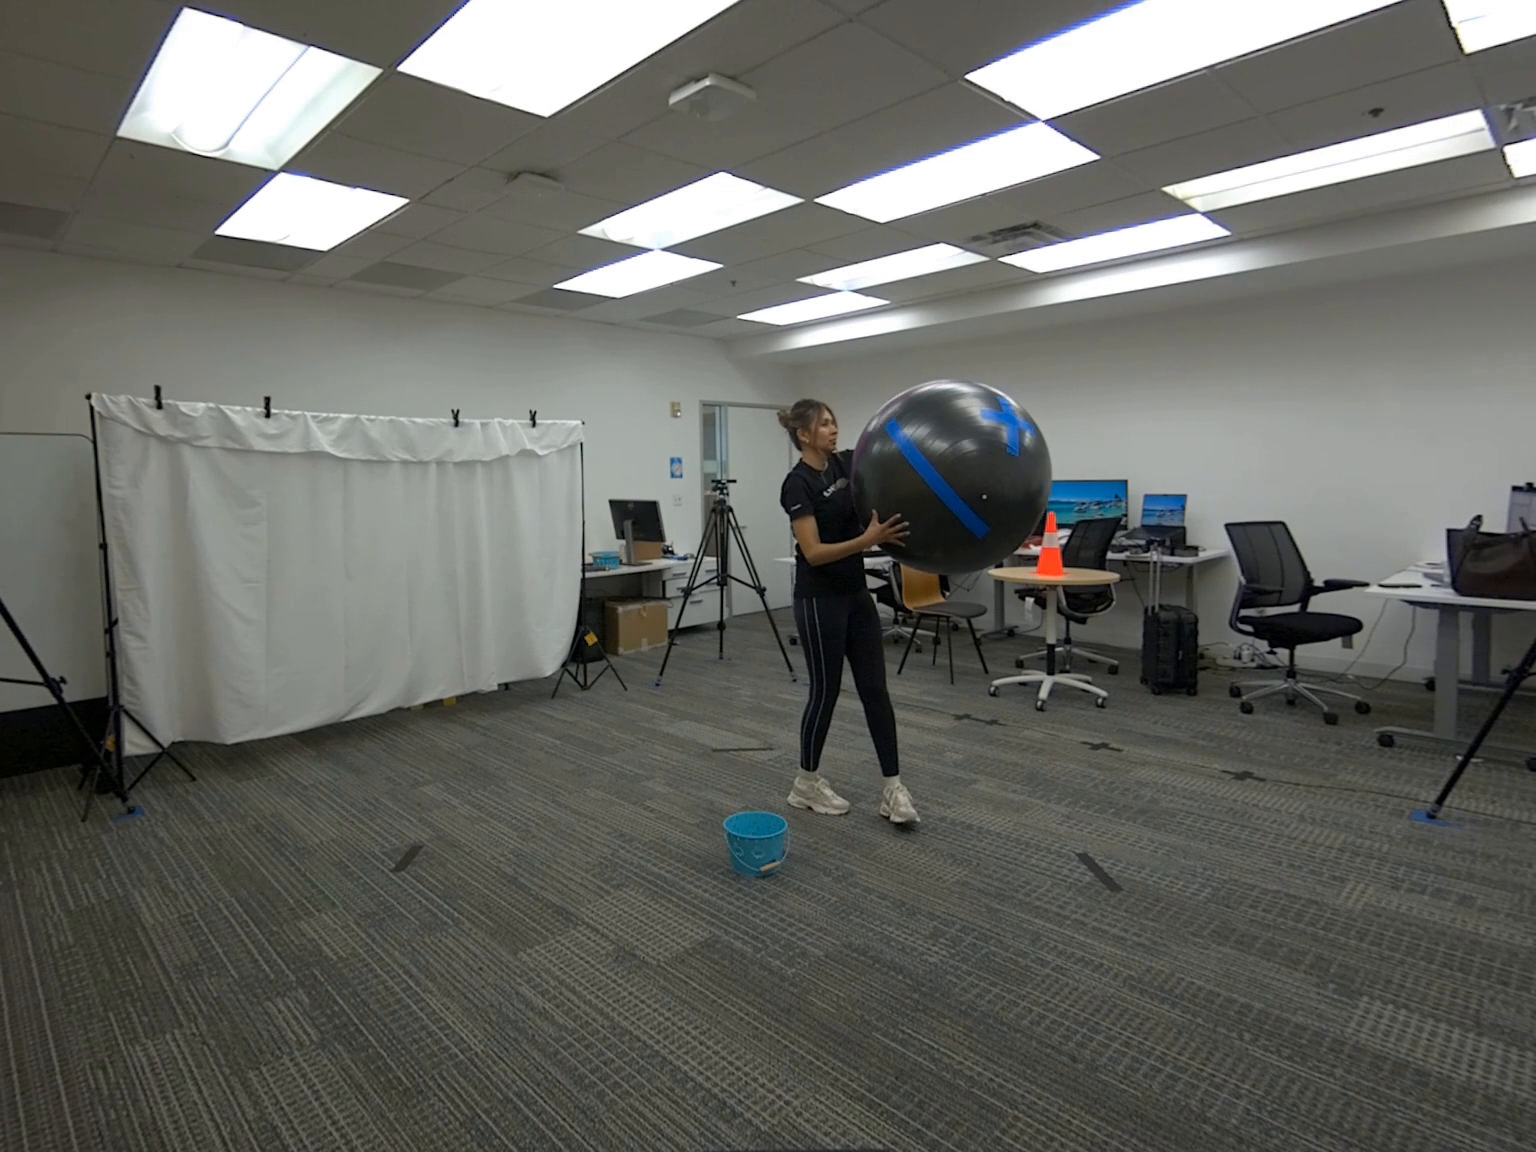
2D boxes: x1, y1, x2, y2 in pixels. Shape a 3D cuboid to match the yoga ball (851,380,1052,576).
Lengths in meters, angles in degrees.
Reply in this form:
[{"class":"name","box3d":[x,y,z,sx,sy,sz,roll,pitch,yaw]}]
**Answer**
[{"class":"yoga ball","box3d":[0.710,-0.382,3.335,0.757,0.755,0.762,-1,5,-2]}]
